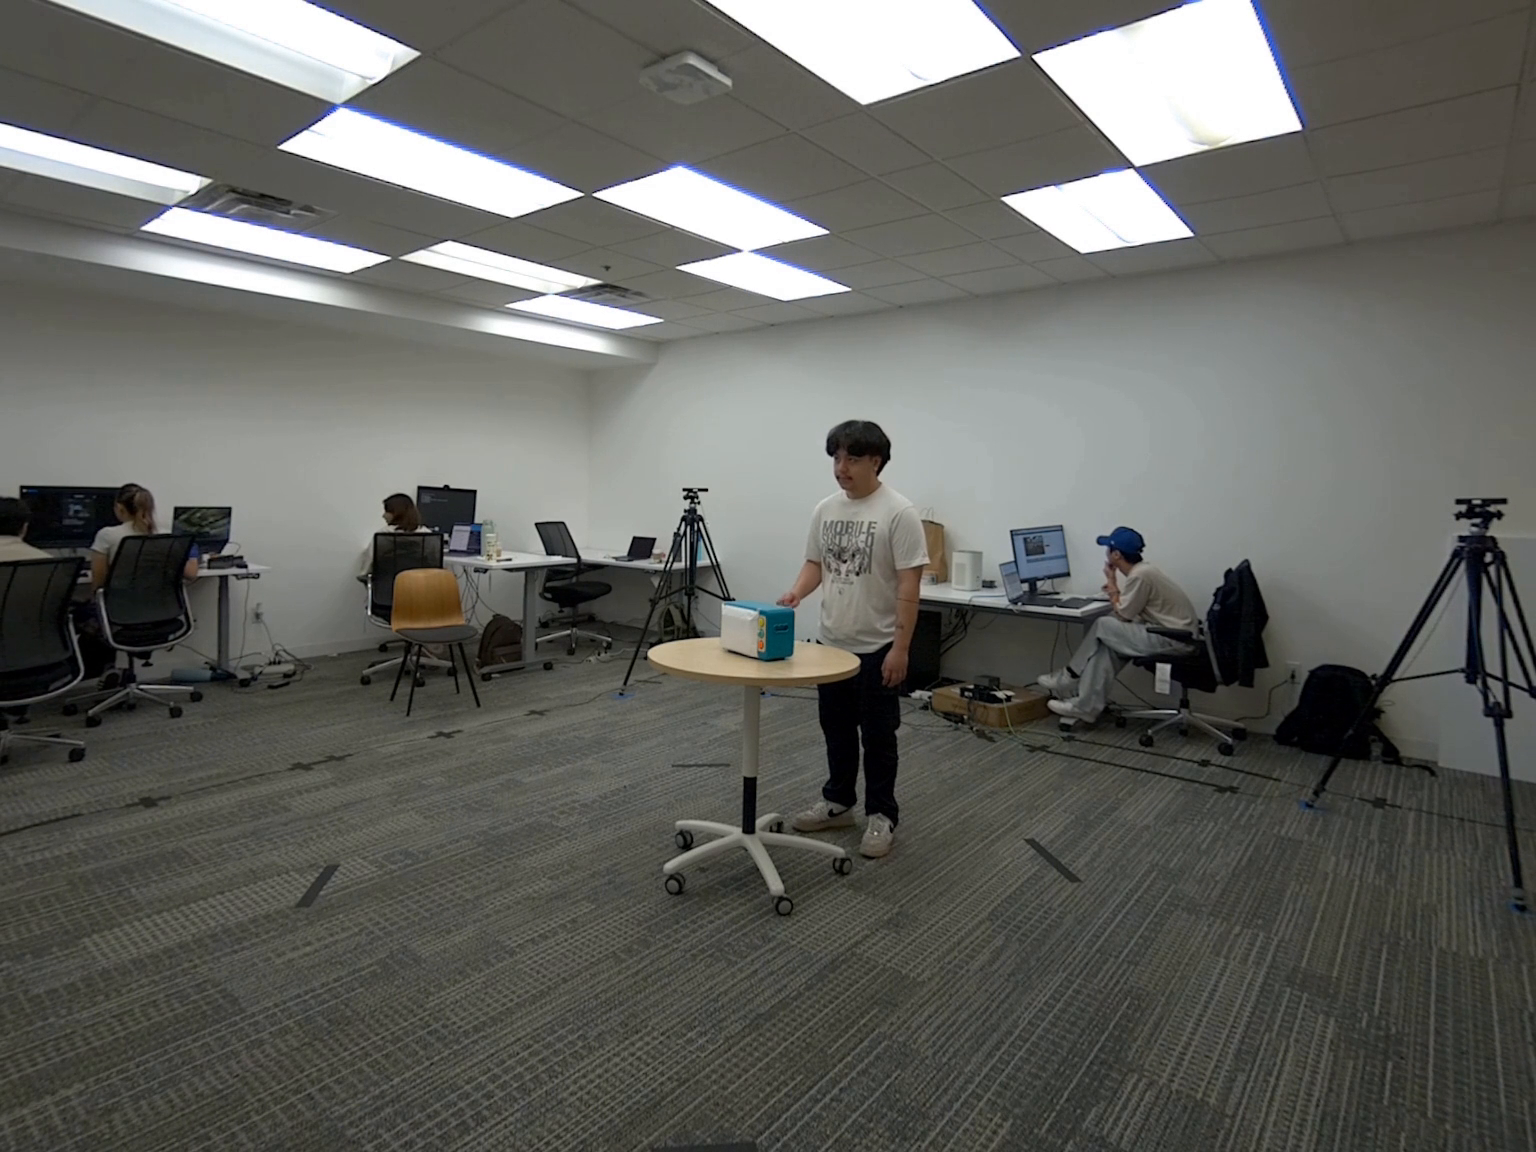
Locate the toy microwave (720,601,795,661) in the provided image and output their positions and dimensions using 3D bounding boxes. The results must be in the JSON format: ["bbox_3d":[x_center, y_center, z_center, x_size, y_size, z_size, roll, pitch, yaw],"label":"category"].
[{"bbox_3d":[-0.054,0.190,3.081,0.148,0.183,0.296,-2,6,-37],"label":"toy microwave"}]
